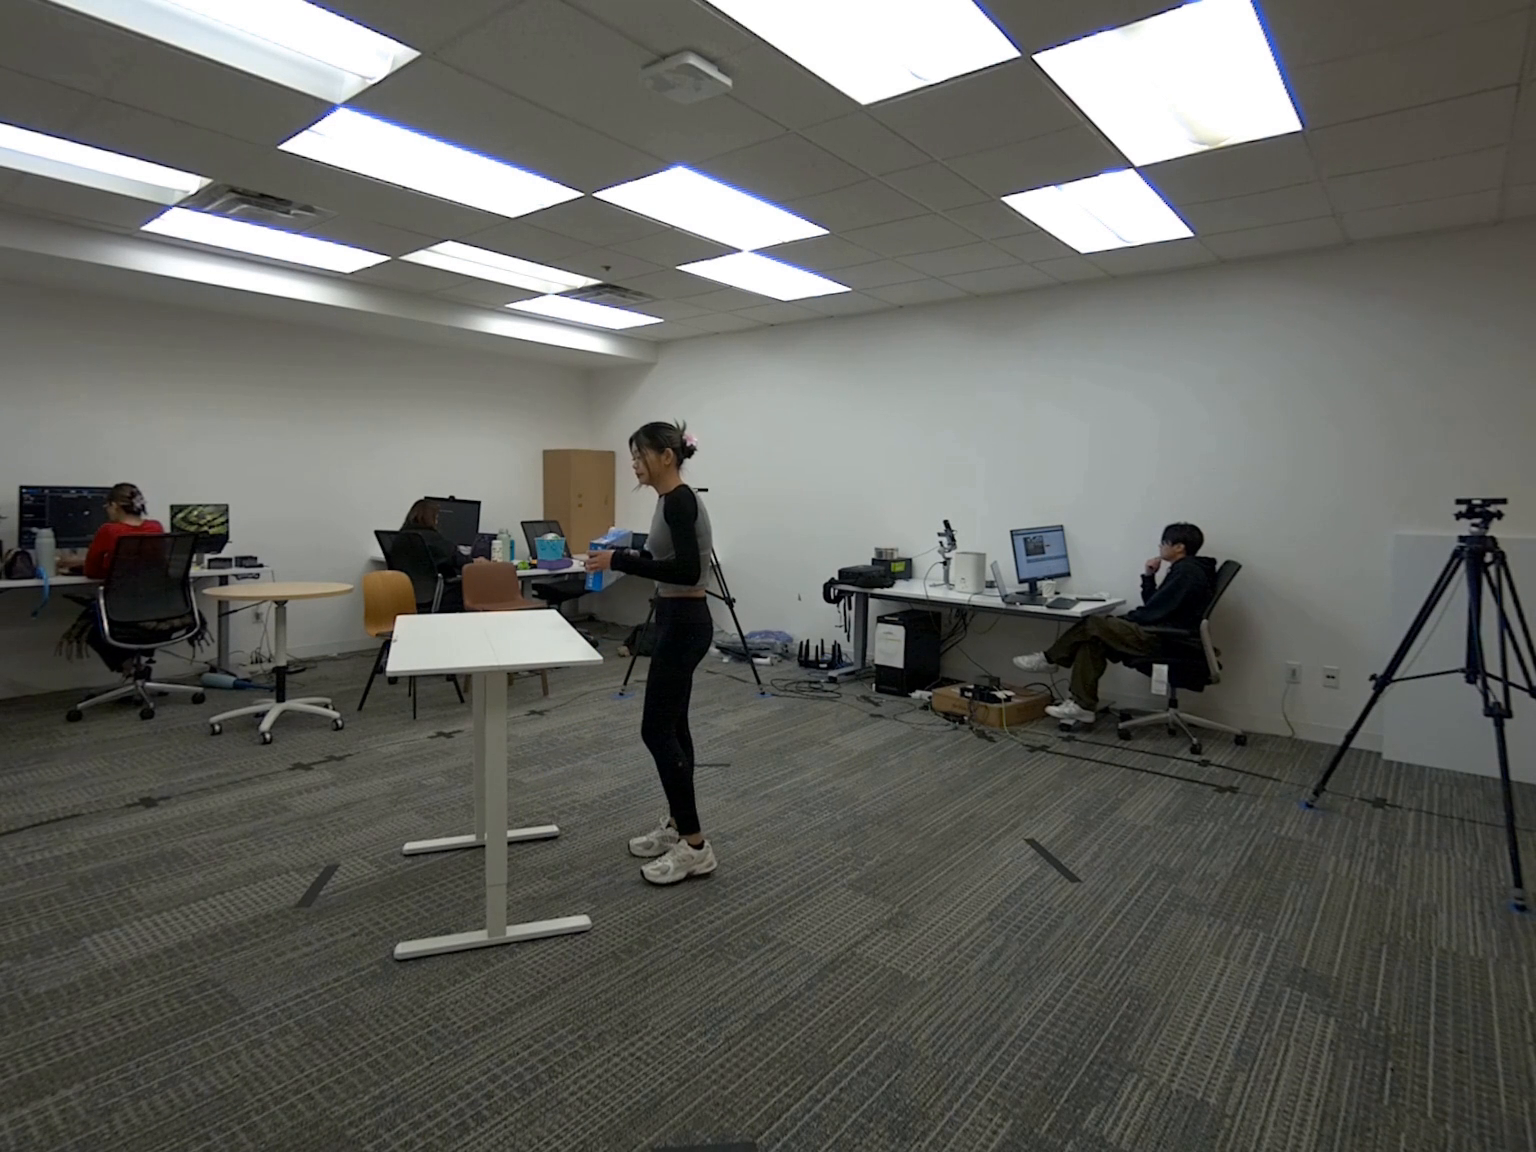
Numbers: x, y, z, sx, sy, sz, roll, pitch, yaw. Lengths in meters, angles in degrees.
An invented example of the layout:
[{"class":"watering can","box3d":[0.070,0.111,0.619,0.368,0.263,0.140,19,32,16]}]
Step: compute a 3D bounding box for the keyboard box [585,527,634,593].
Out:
[{"class":"keyboard box","box3d":[-0.602,-0.068,3.216,0.059,0.174,0.437,8,11,4]}]
